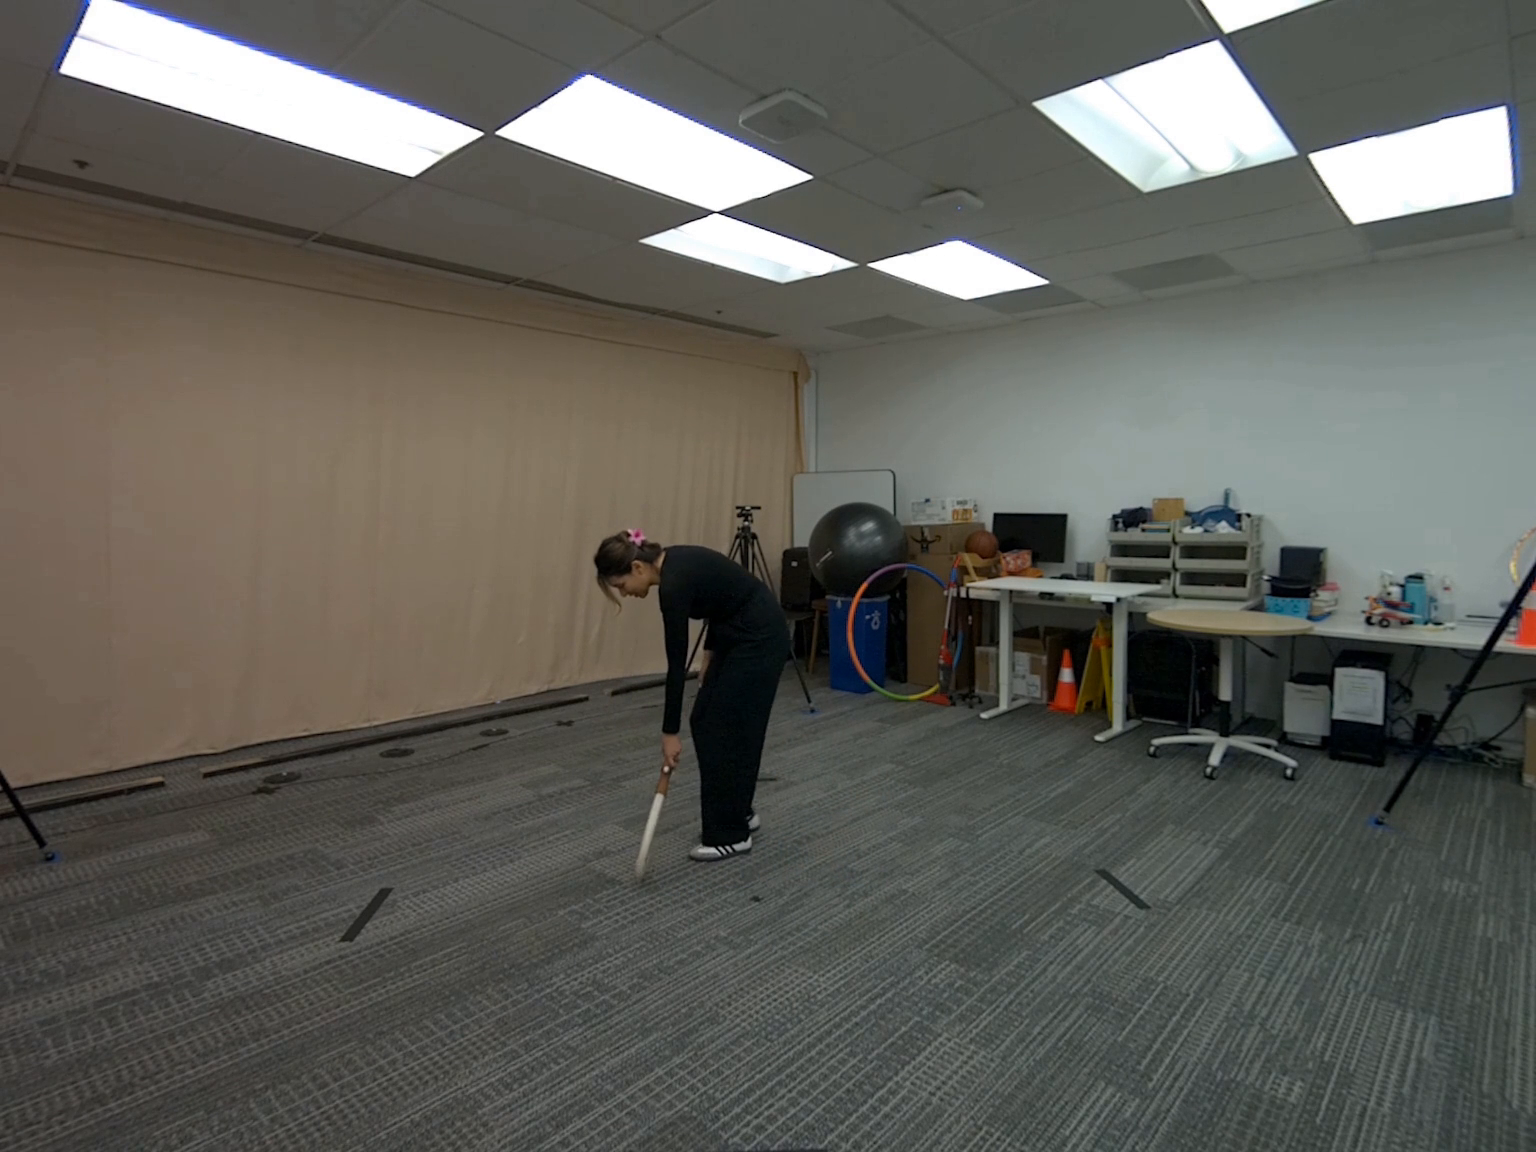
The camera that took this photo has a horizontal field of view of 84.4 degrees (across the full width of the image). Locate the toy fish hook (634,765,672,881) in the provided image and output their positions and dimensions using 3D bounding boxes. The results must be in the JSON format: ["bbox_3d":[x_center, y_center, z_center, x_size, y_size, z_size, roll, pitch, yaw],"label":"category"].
[{"bbox_3d":[-0.422,0.893,3.211,0.048,0.510,0.223,15,-26,-2],"label":"toy fish hook"}]
